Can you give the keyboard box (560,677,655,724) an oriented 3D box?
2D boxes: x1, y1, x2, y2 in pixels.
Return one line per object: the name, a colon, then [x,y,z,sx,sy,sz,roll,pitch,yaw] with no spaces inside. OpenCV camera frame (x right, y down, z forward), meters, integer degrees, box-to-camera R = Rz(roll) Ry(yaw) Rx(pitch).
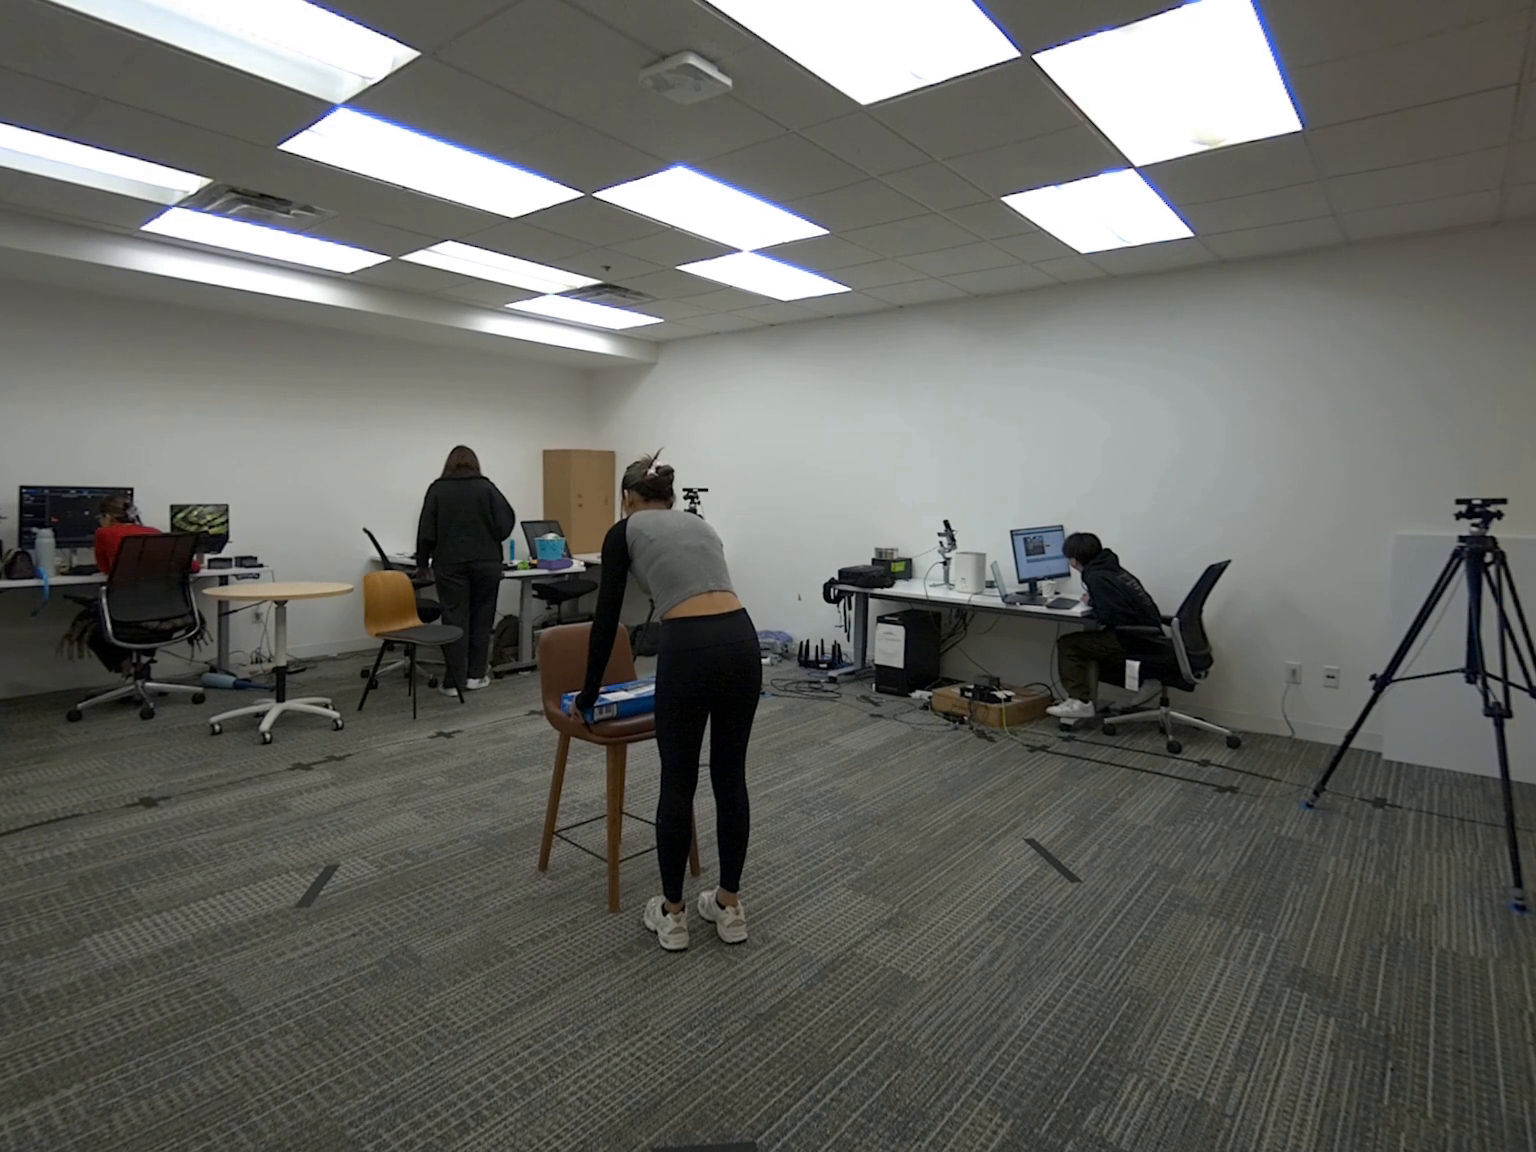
keyboard box: [-0.506,0.424,2.977,0.424,0.059,0.182,-4,9,-45]
